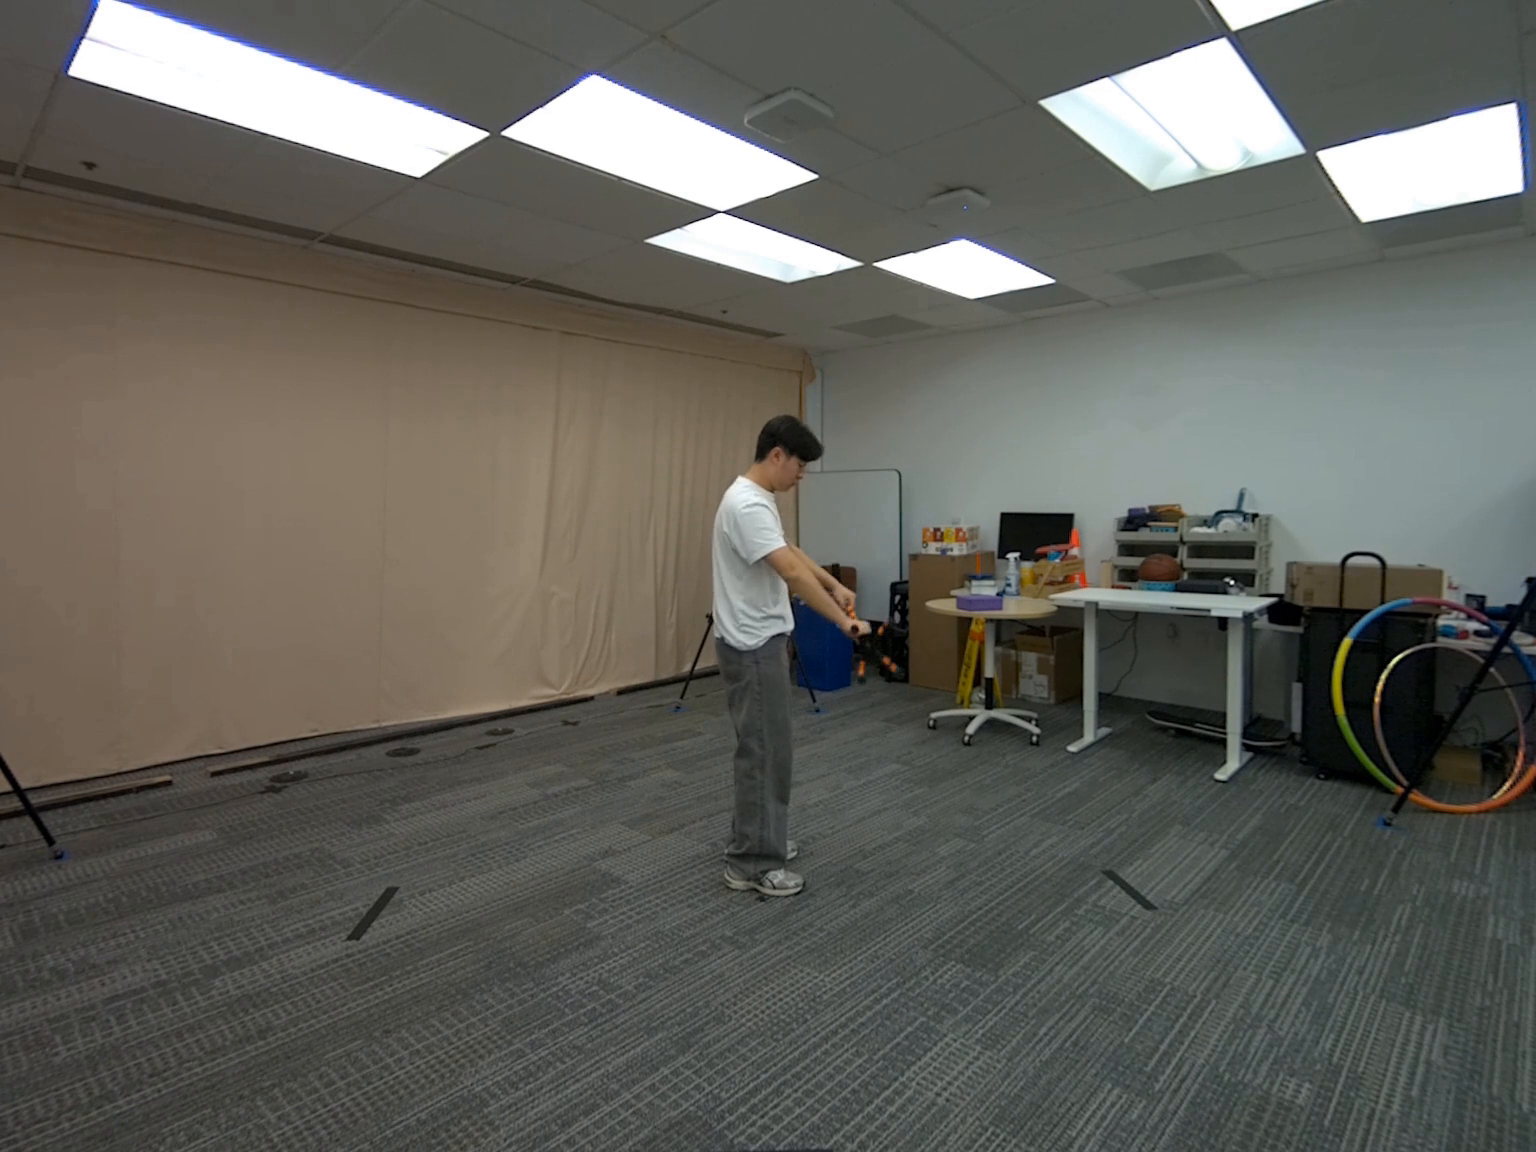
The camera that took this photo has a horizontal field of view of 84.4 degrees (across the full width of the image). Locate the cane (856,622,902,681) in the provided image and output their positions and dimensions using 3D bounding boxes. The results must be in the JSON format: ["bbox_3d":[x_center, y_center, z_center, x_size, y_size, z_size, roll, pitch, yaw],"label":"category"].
[{"bbox_3d":[0.357,0.131,3.205,0.152,0.204,0.917,-21,14,2],"label":"cane"}]
